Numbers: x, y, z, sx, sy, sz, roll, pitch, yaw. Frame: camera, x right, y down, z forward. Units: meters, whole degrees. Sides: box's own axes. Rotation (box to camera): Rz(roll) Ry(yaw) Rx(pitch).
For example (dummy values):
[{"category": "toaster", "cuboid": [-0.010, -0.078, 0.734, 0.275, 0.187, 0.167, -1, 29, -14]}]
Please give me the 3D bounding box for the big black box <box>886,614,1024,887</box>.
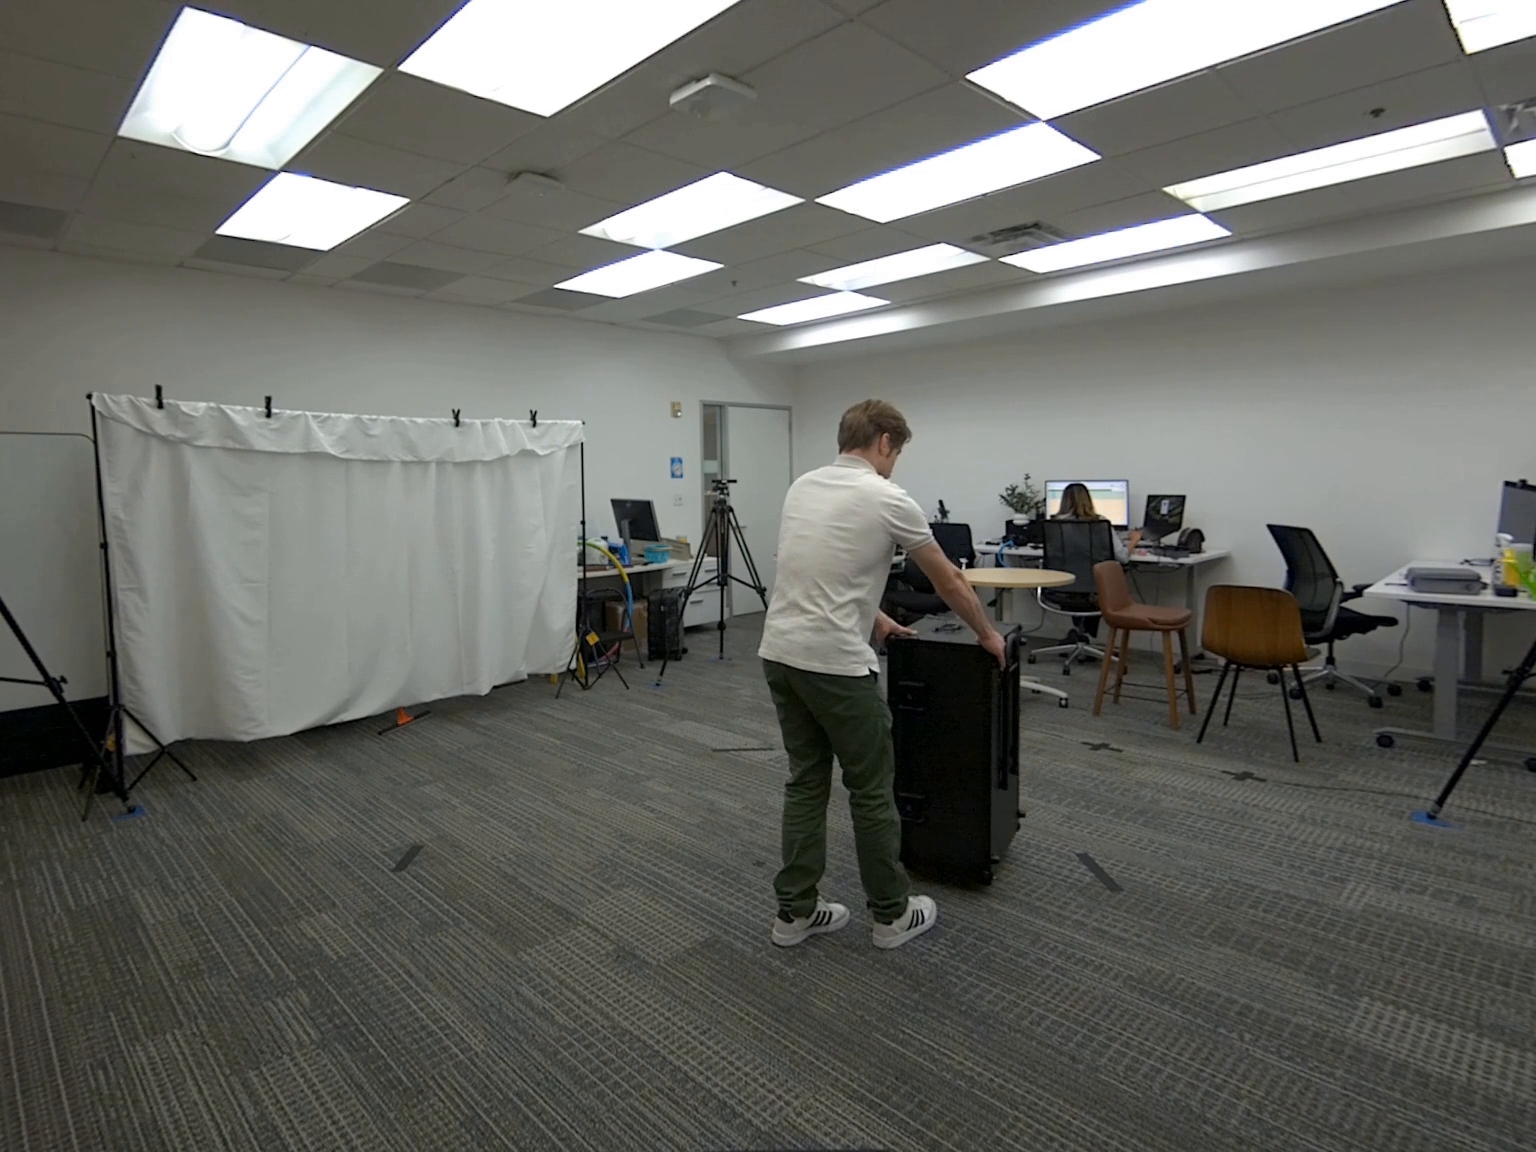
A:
[{"category": "big black box", "cuboid": [0.685, 0.614, 3.069, 0.395, 0.865, 0.513, 2, 5, 28]}]
